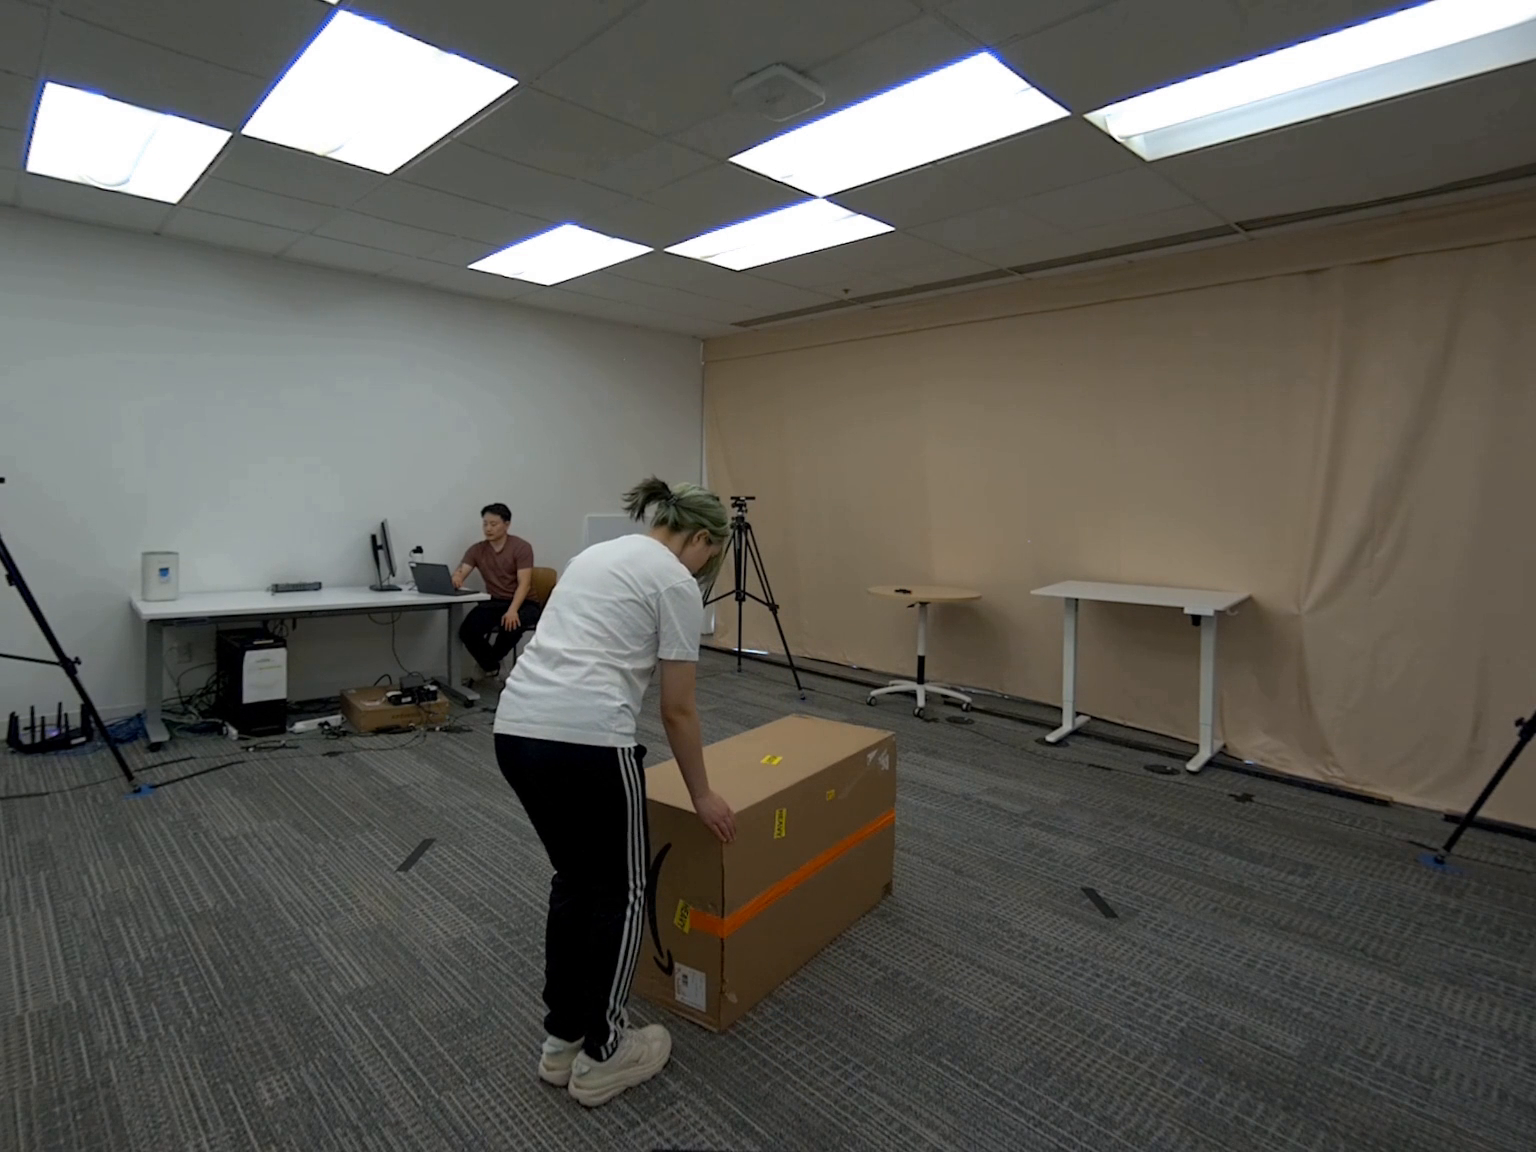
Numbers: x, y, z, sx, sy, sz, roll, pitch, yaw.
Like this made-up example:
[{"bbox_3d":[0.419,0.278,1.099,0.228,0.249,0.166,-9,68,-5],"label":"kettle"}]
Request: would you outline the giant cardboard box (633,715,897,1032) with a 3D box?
[{"bbox_3d":[-0.016,0.859,2.687,0.457,0.582,1.006,5,7,34],"label":"giant cardboard box"}]
